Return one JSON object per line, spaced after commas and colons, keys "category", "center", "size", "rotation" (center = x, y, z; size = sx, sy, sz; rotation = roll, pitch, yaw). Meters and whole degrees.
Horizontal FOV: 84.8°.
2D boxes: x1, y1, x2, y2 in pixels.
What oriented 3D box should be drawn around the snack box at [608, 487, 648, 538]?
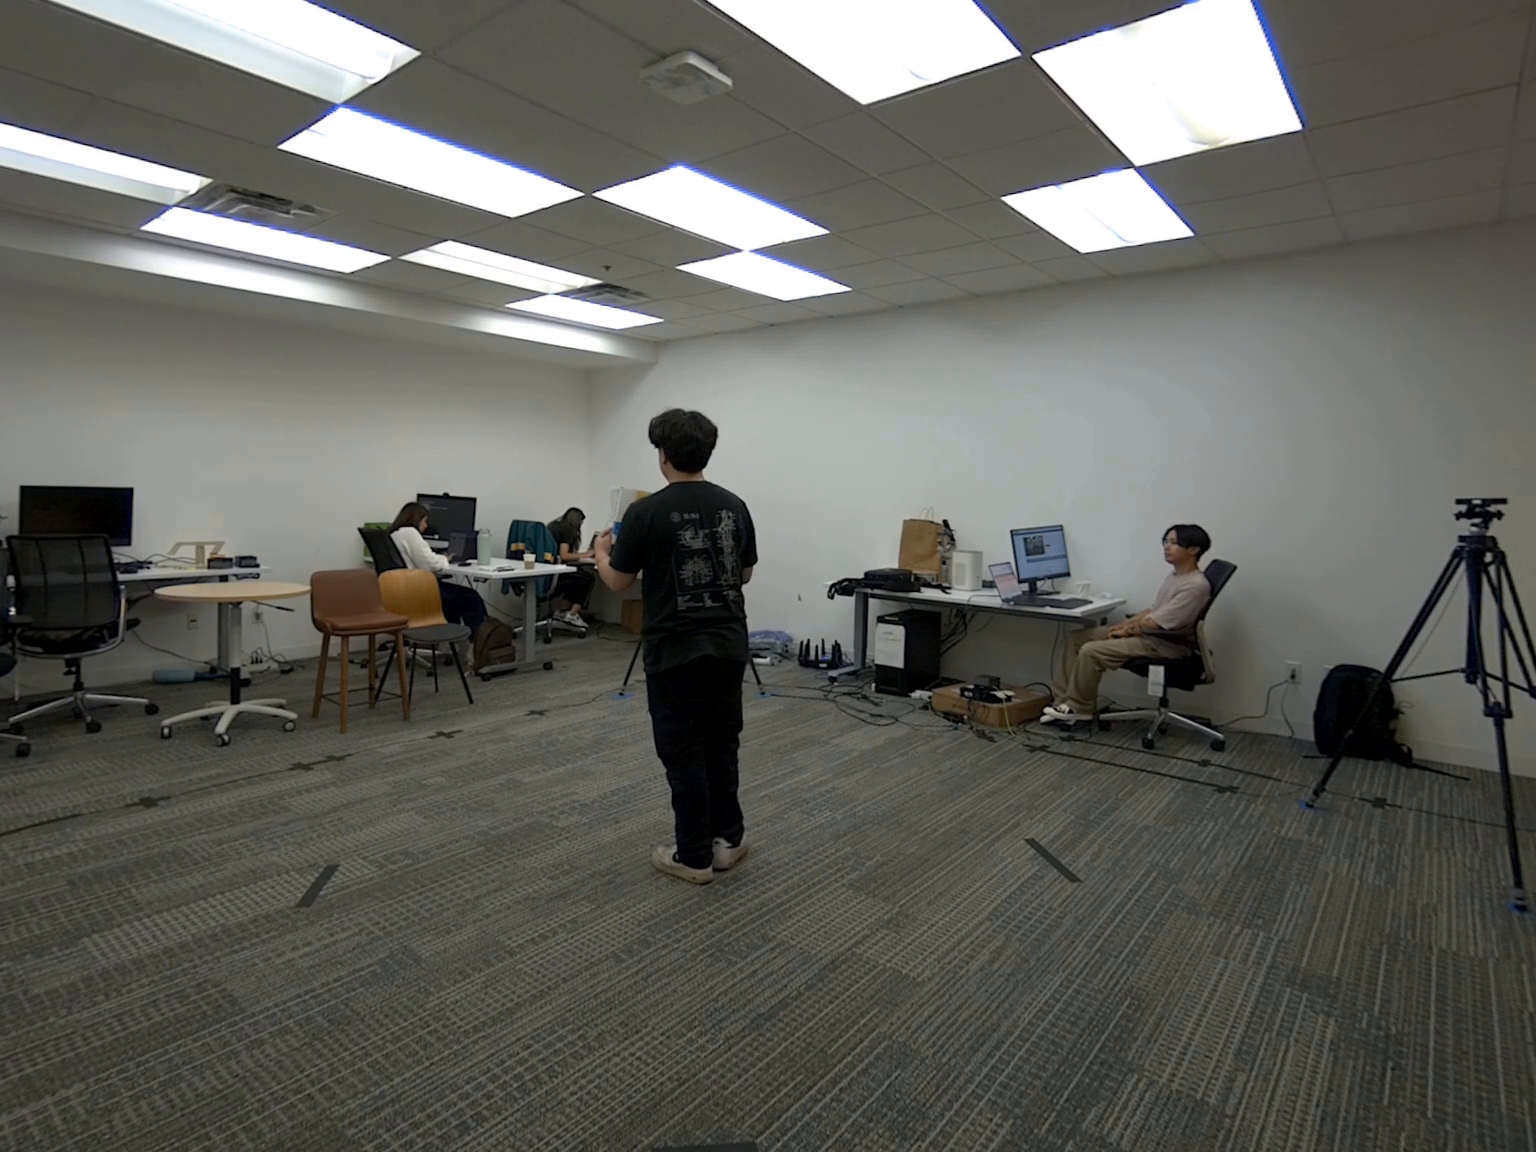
{"category": "snack box", "center": [-0.463, -0.162, 3.444], "size": [0.395, 0.340, 0.210], "rotation": [10, -1, -21]}
